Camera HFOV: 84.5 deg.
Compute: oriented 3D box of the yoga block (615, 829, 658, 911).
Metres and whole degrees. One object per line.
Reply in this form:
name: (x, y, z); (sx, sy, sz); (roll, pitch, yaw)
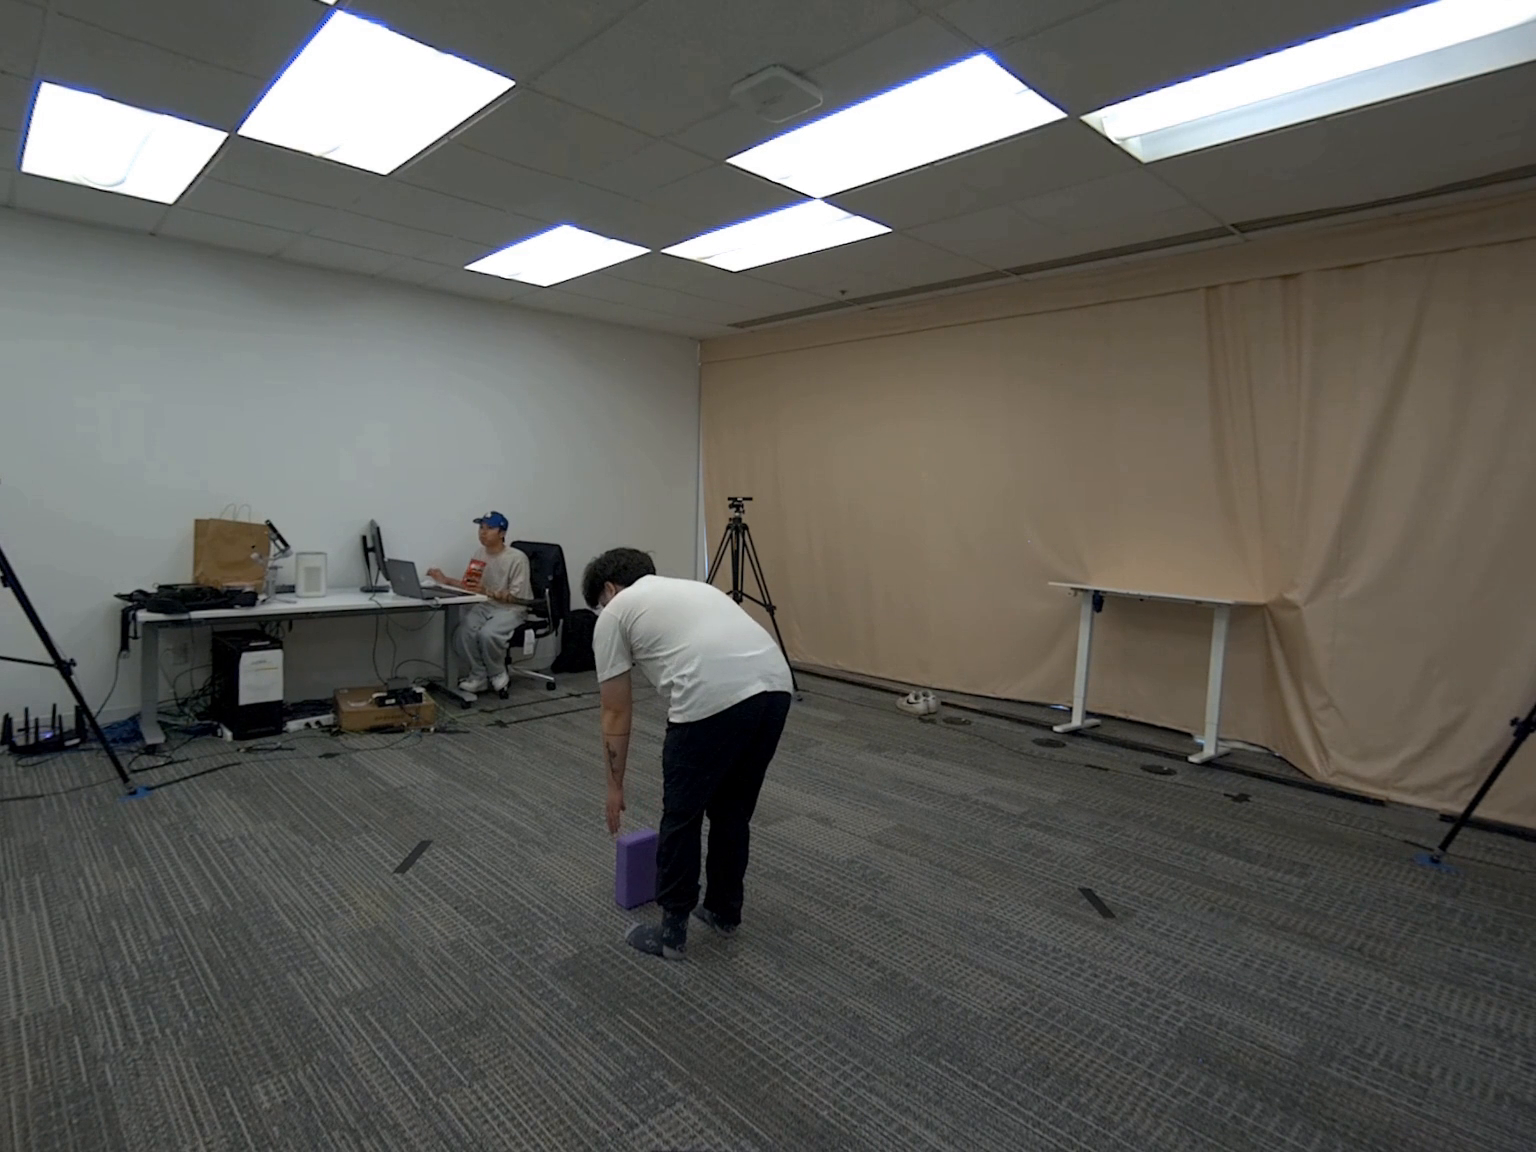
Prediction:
yoga block: (-0.453, 1.005, 2.891); (0.146, 0.228, 0.078); (-4, 7, -45)
